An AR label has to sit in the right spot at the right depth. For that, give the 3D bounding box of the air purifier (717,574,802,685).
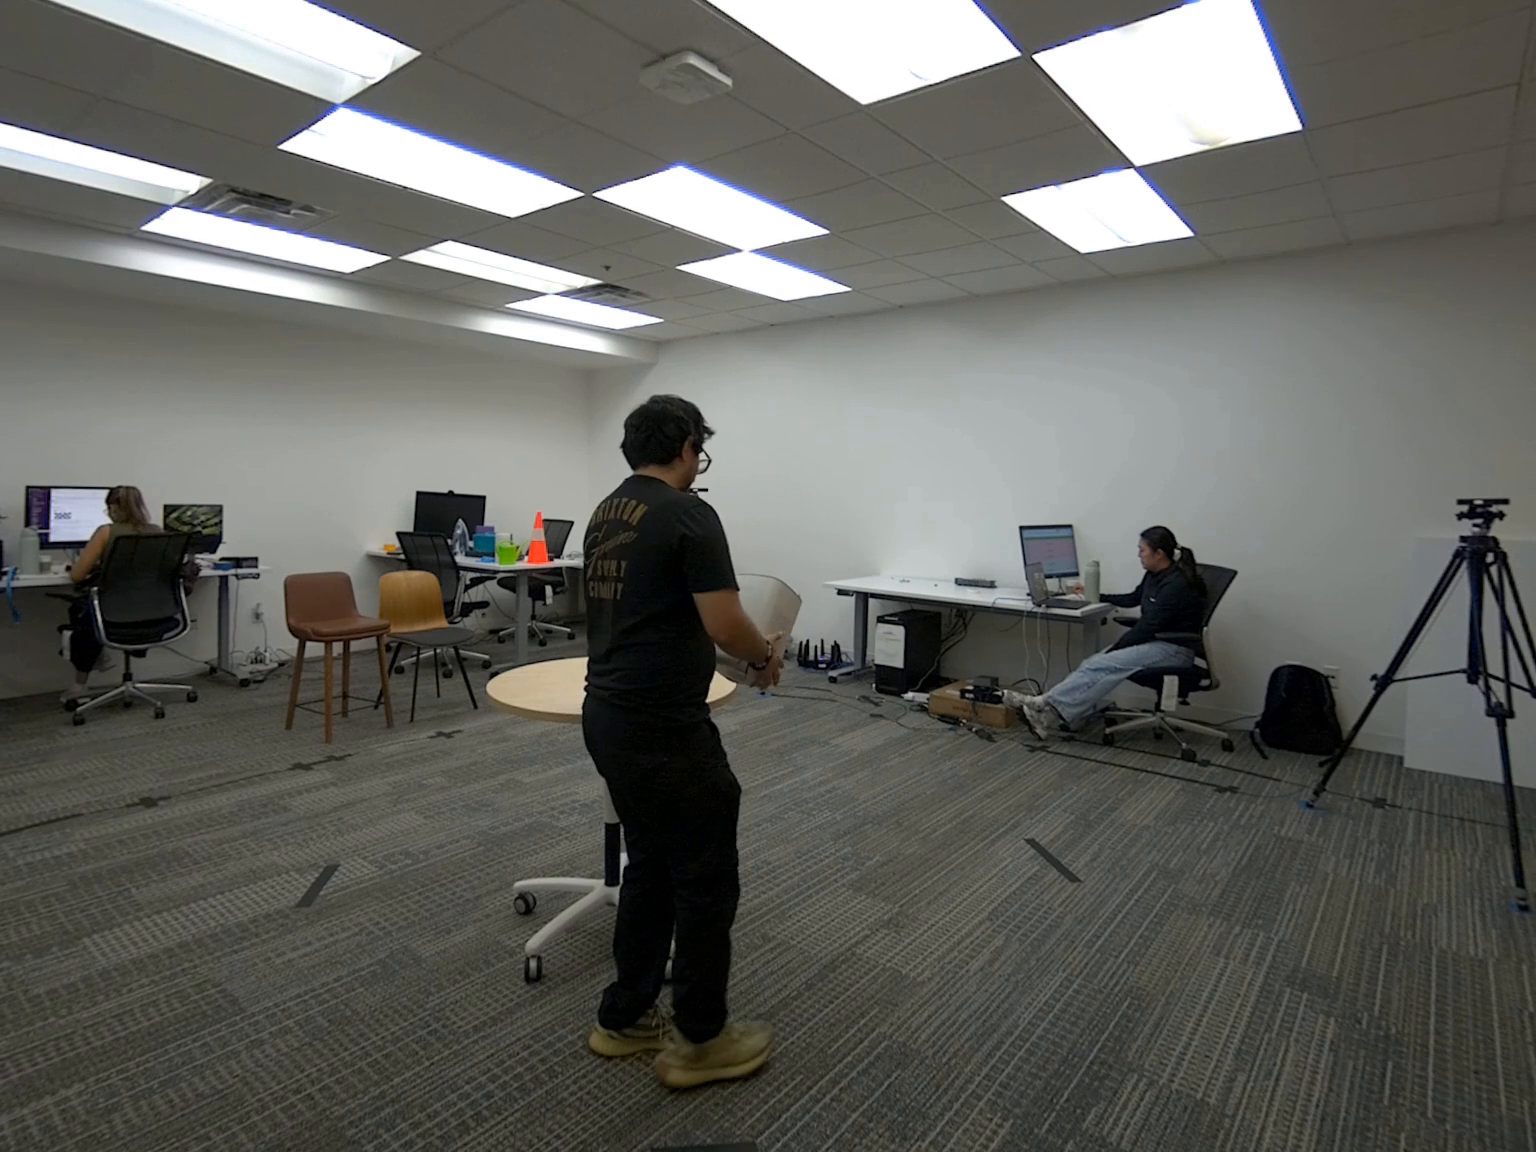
[{"bbox_3d":[-0.056,0.146,2.310,0.173,0.265,0.166,1,-28,39],"label":"air purifier"}]
